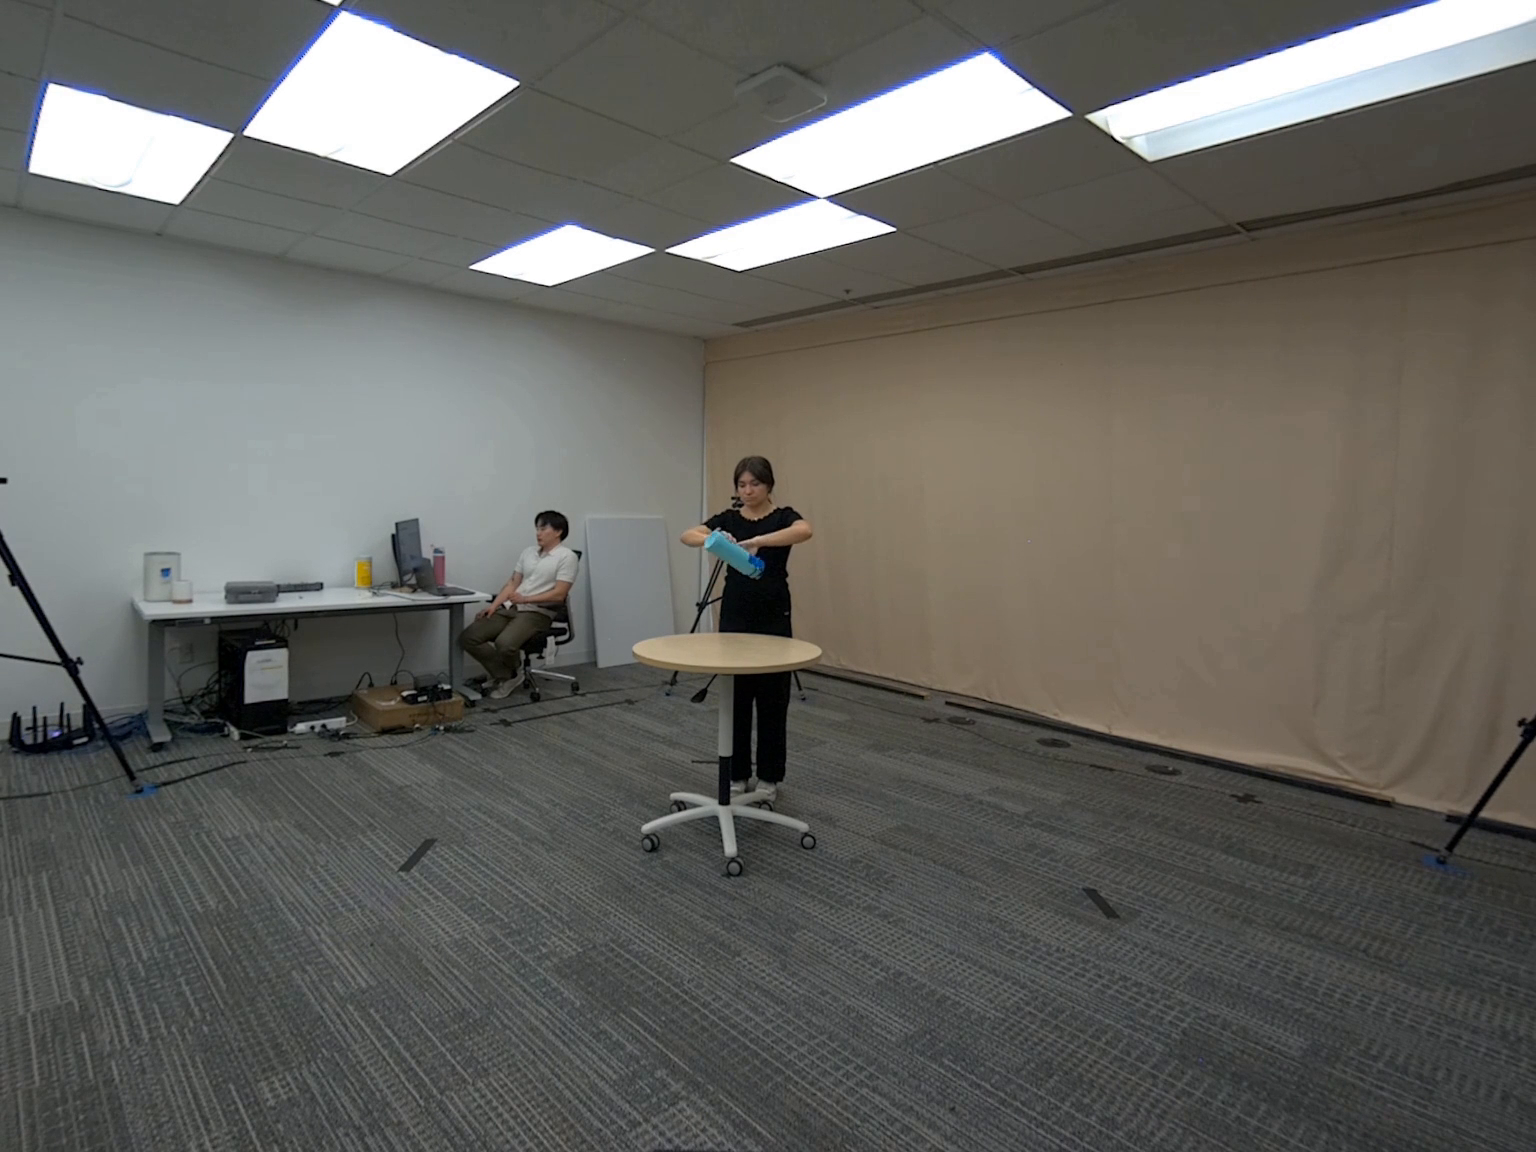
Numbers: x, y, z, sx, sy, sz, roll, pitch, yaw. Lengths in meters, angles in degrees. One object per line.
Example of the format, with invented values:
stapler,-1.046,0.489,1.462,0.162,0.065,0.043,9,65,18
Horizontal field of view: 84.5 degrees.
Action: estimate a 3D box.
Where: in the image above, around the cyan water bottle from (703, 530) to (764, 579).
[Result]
cyan water bottle,-0.150,-0.084,3.542,0.277,0.092,0.094,34,-10,-24
